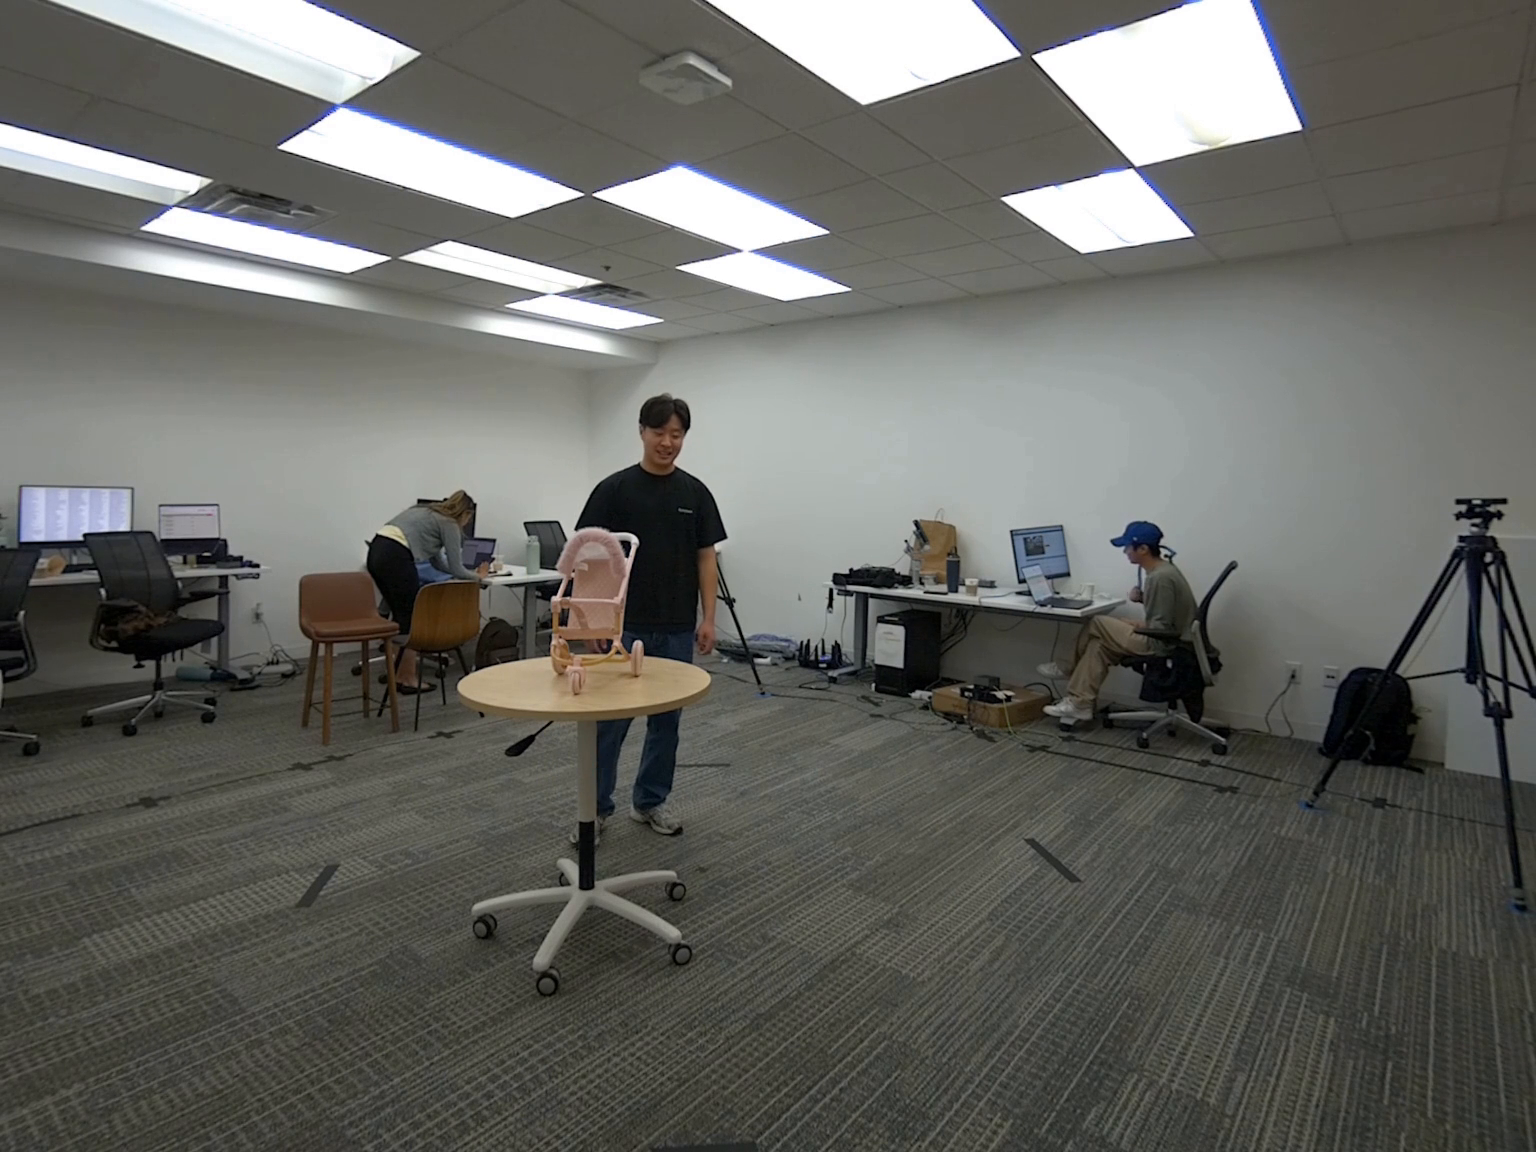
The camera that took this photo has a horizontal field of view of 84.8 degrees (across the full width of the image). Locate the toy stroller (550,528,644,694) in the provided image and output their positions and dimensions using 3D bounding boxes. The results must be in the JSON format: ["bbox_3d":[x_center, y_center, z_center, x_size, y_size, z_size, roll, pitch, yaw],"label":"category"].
[{"bbox_3d":[-0.550,0.092,2.606,0.284,0.541,0.334,0,-11,8],"label":"toy stroller"}]
